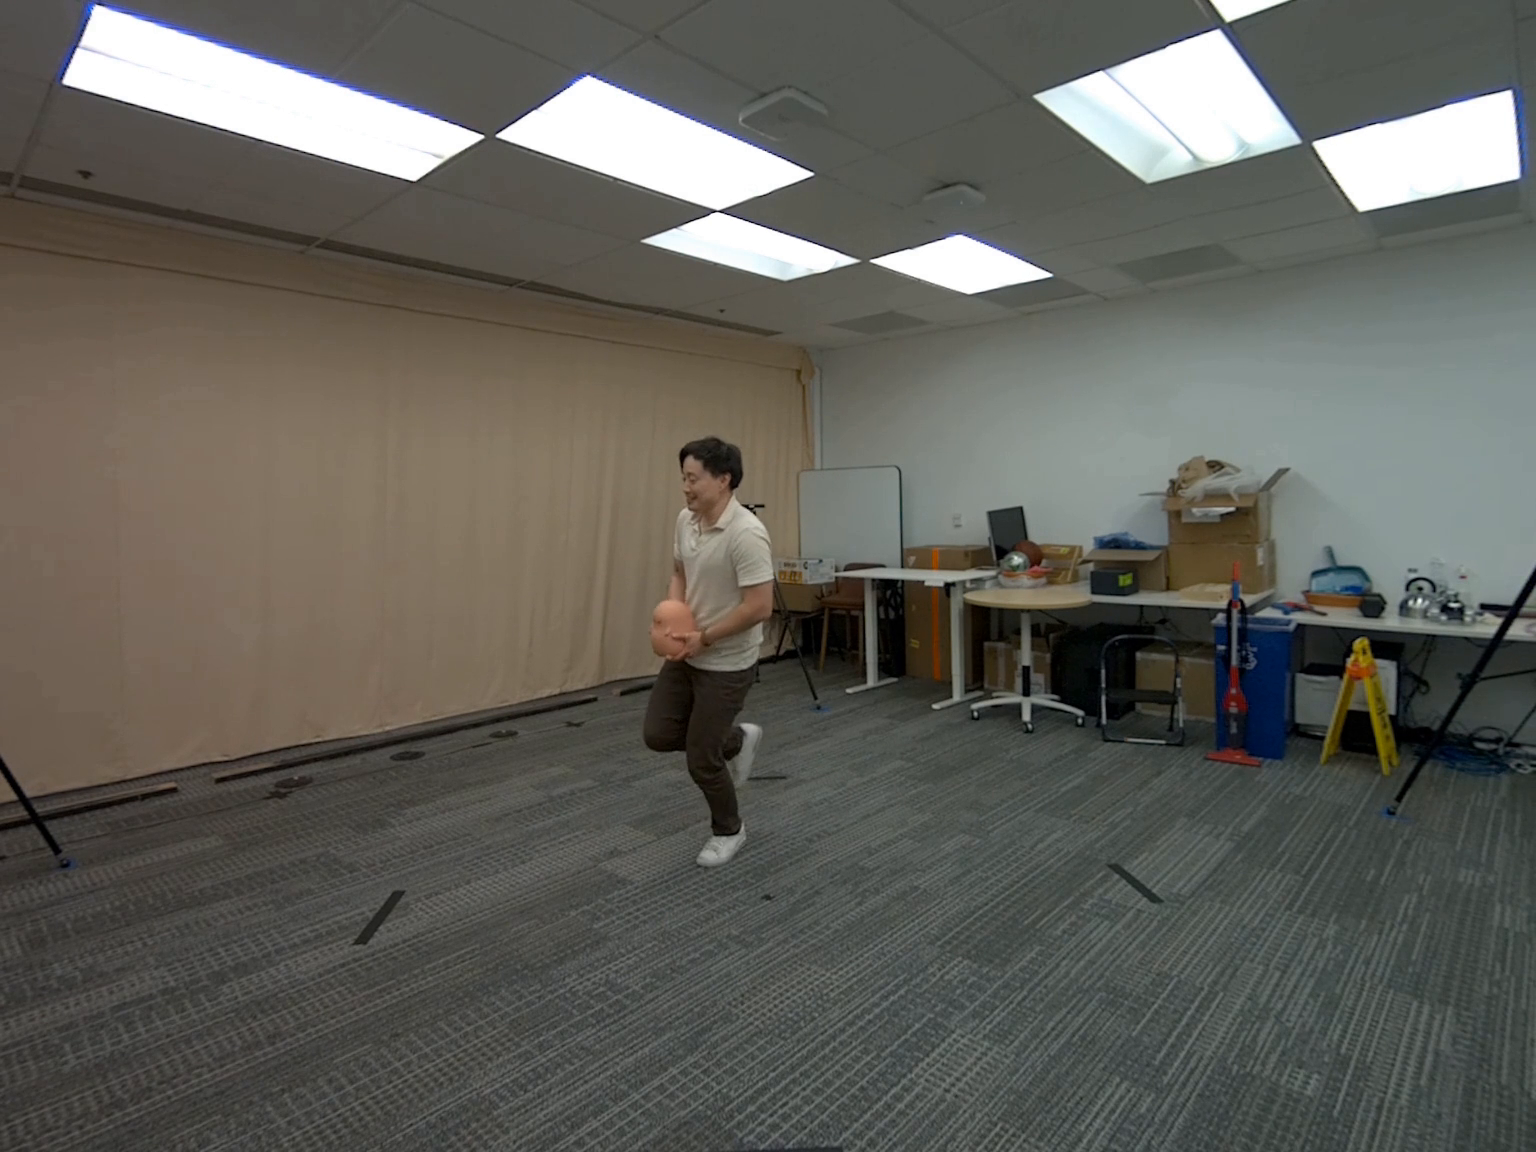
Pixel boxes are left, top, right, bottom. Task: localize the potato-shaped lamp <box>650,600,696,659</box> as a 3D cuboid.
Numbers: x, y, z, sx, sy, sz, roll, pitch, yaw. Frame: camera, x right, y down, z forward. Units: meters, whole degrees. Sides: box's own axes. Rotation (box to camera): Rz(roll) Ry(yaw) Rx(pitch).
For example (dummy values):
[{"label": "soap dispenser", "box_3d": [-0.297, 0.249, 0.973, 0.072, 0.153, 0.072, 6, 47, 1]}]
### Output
[{"label": "potato-shaped lamp", "box_3d": [-0.344, 0.136, 3.089, 0.168, 0.196, 0.170, -18, 16, -28]}]
